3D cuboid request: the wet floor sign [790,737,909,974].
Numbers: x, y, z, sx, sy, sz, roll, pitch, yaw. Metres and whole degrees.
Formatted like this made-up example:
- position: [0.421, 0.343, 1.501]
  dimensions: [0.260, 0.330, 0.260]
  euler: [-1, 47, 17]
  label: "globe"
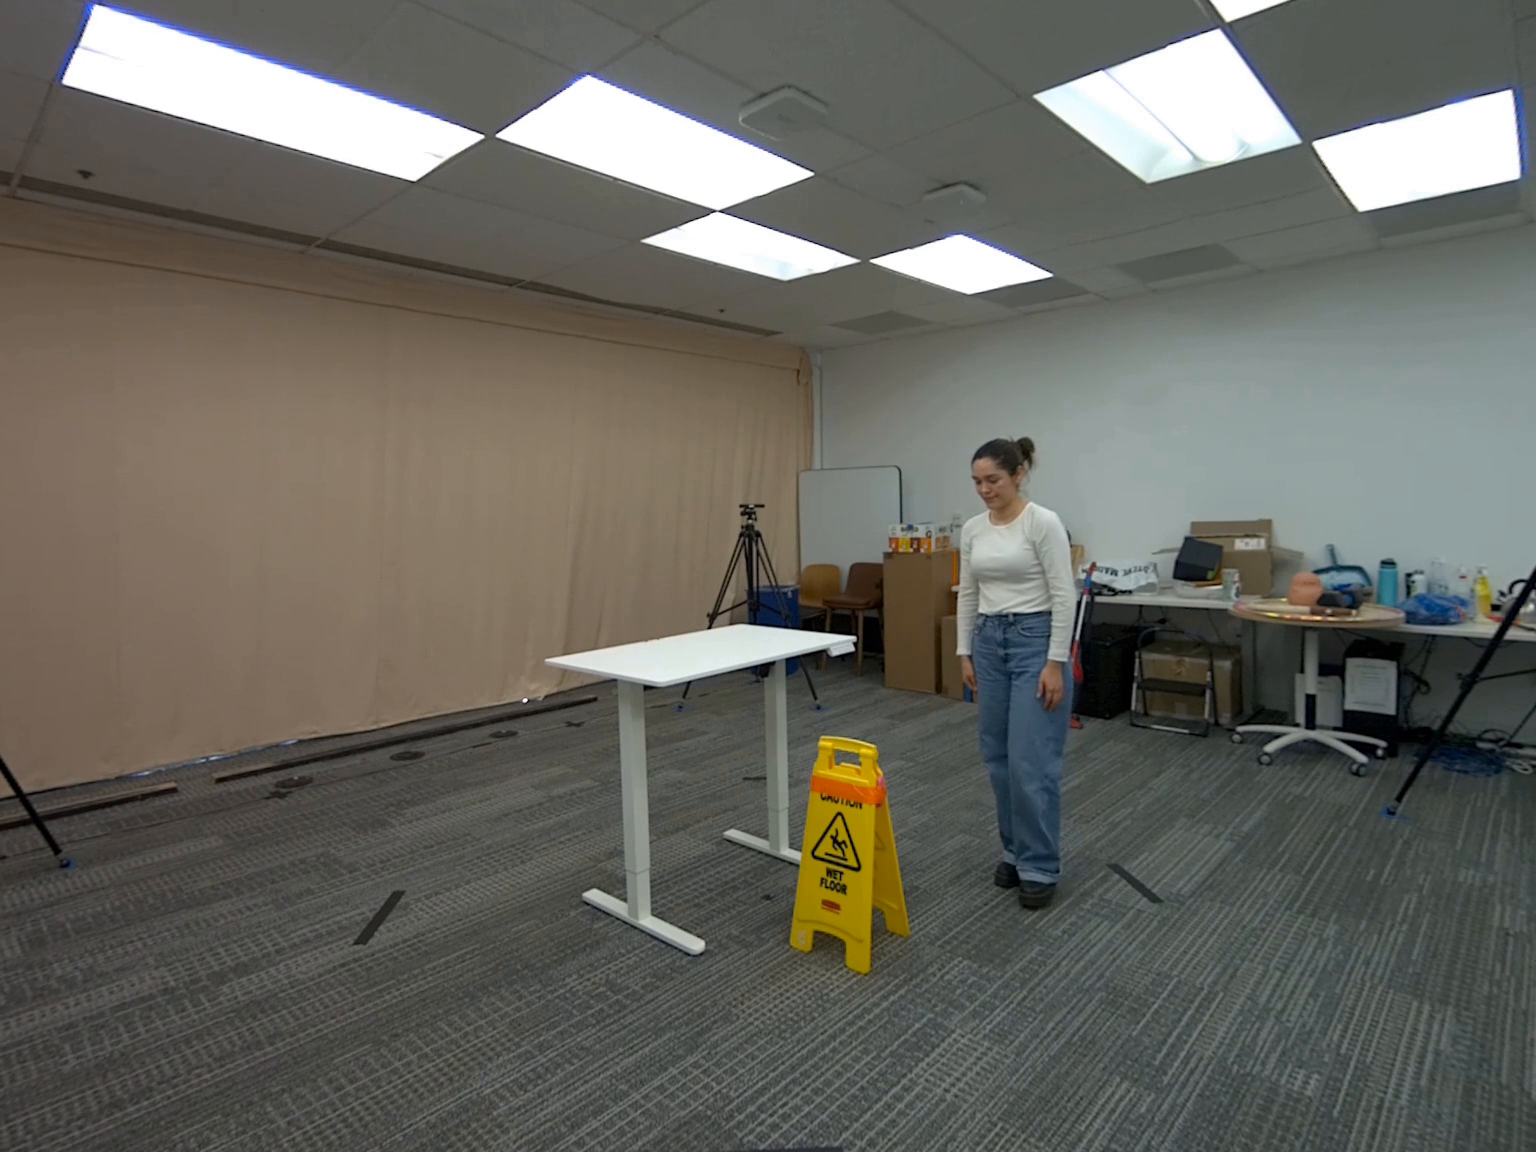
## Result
- position: [0.266, 0.841, 2.659]
  dimensions: [0.291, 0.645, 0.281]
  euler: [2, 4, 37]
  label: "wet floor sign"
